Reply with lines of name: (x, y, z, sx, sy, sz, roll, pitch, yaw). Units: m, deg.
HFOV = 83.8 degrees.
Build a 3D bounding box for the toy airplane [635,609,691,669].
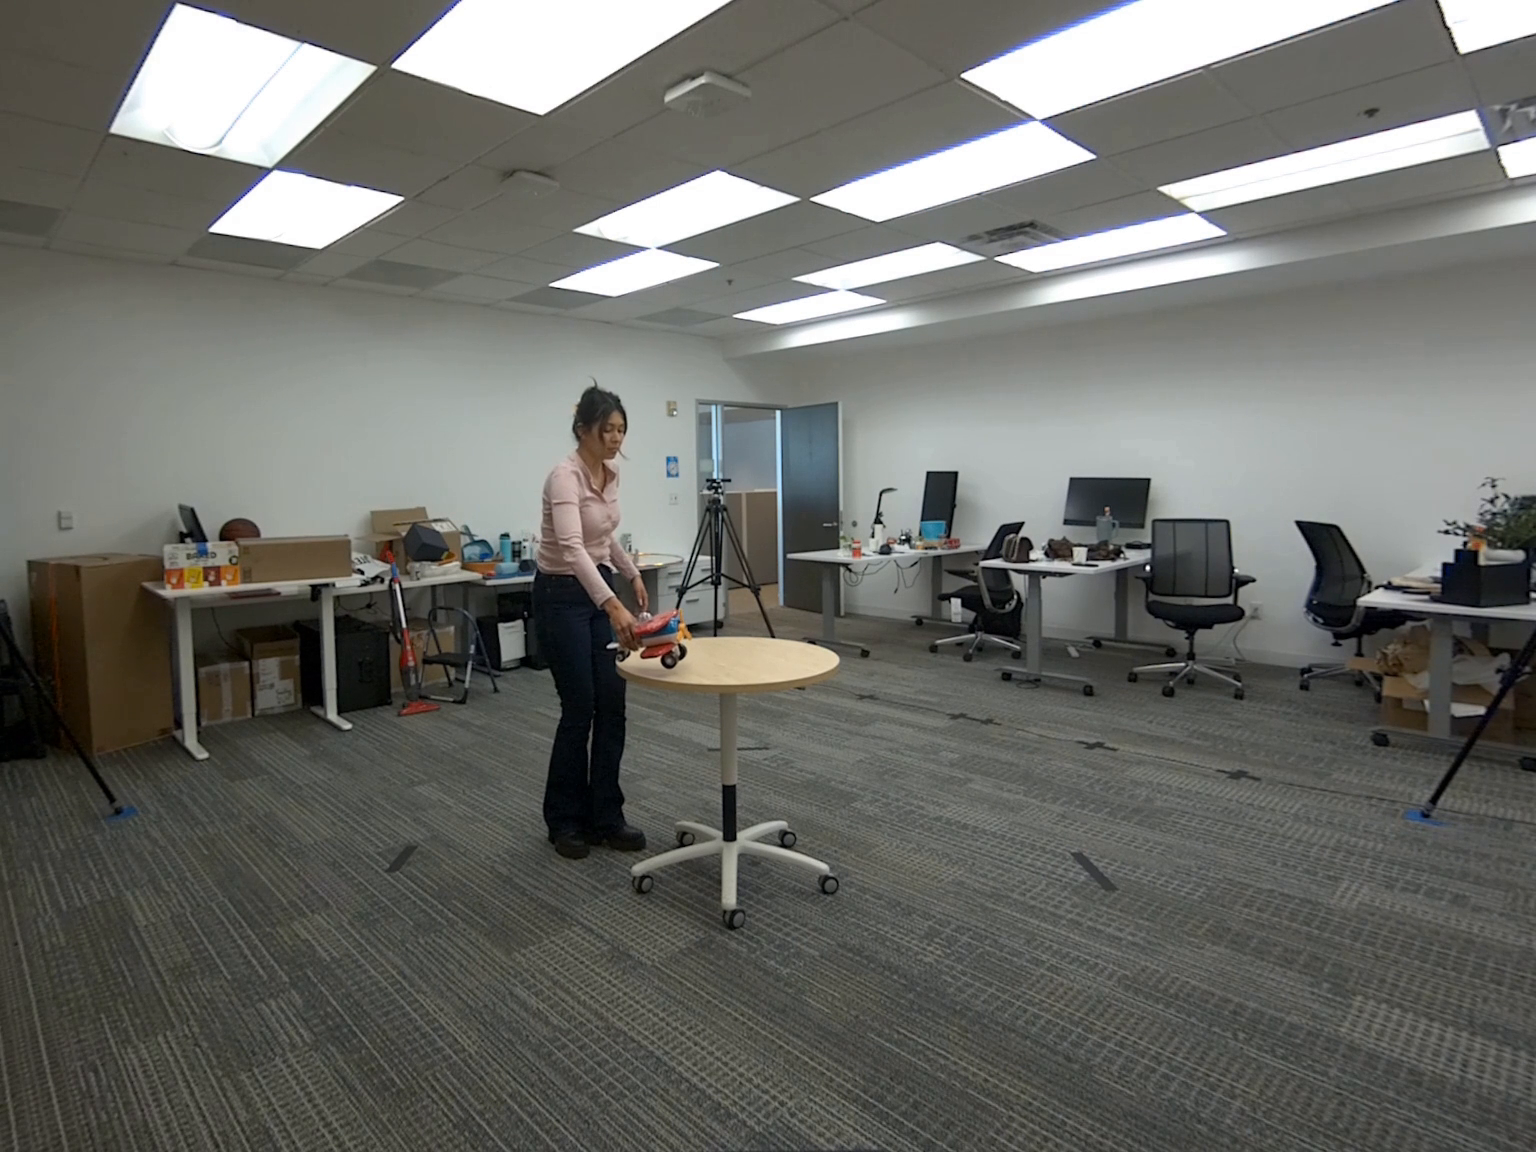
toy airplane: (-0.385, 0.205, 2.712, 0.256, 0.155, 0.256, -3, 11, -13)
